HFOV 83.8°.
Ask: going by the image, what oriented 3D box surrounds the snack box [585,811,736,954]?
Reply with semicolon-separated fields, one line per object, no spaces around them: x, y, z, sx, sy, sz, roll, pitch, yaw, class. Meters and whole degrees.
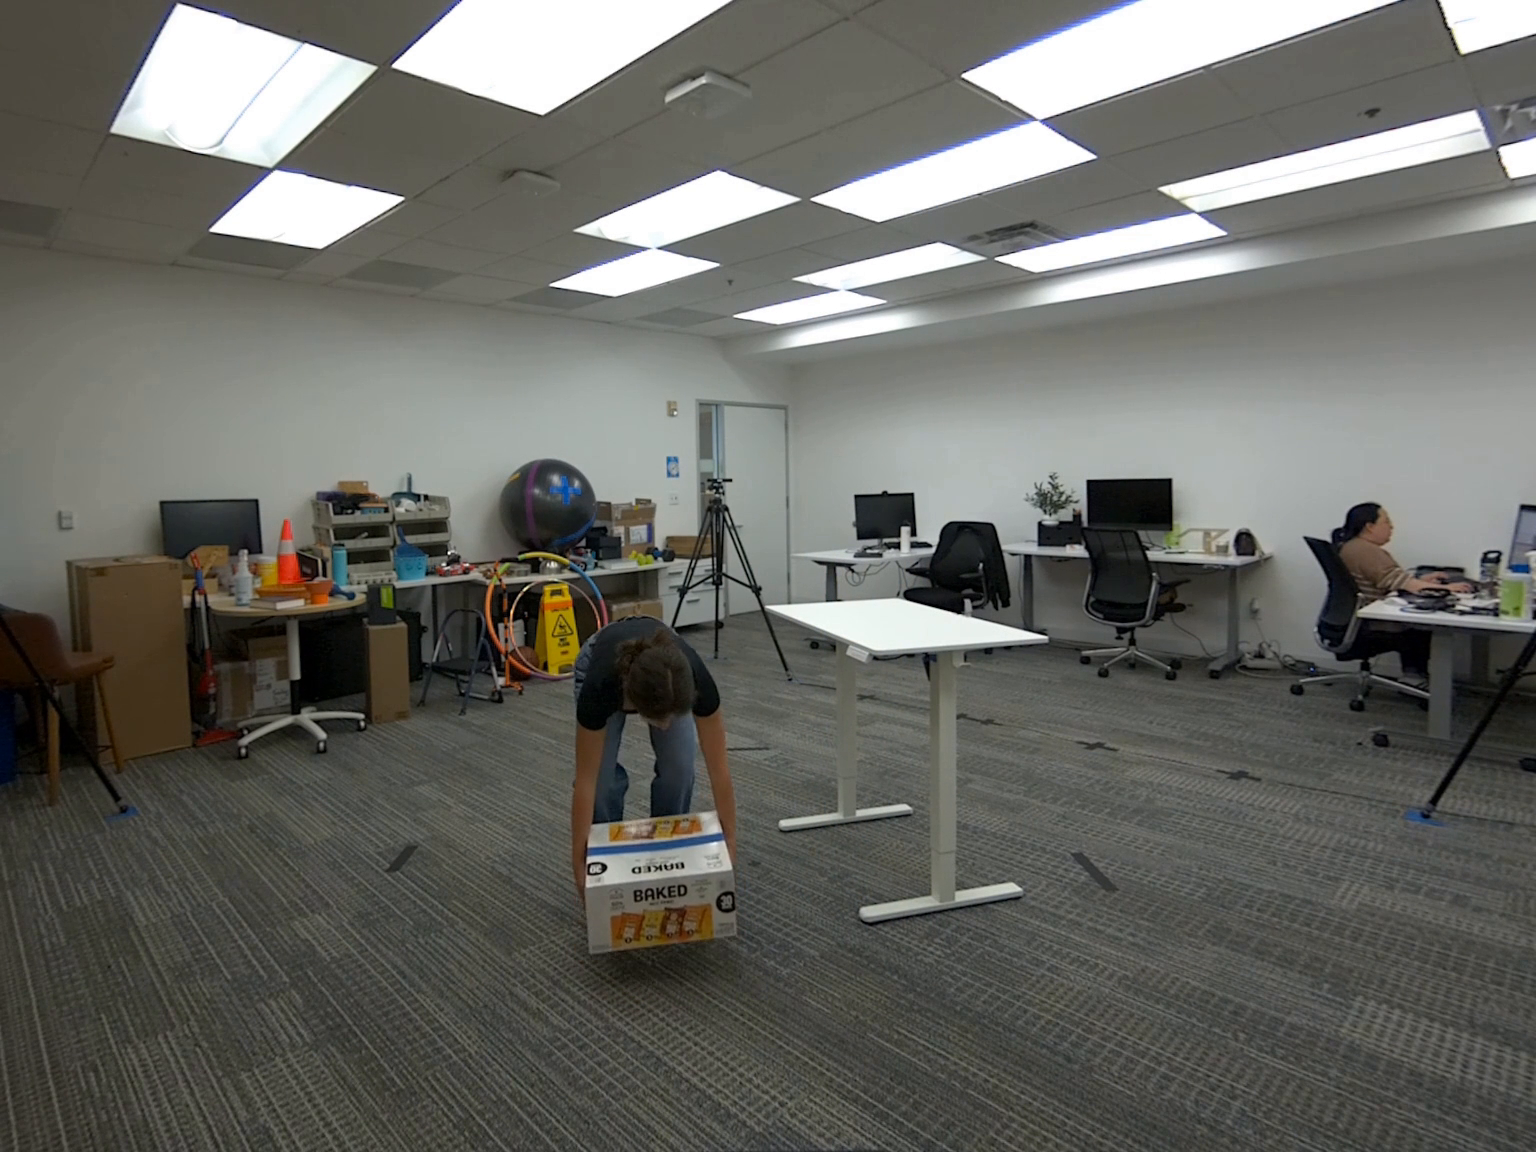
-0.314;0.881;2.474;0.402;0.204;0.346;-5;11;-9;snack box
